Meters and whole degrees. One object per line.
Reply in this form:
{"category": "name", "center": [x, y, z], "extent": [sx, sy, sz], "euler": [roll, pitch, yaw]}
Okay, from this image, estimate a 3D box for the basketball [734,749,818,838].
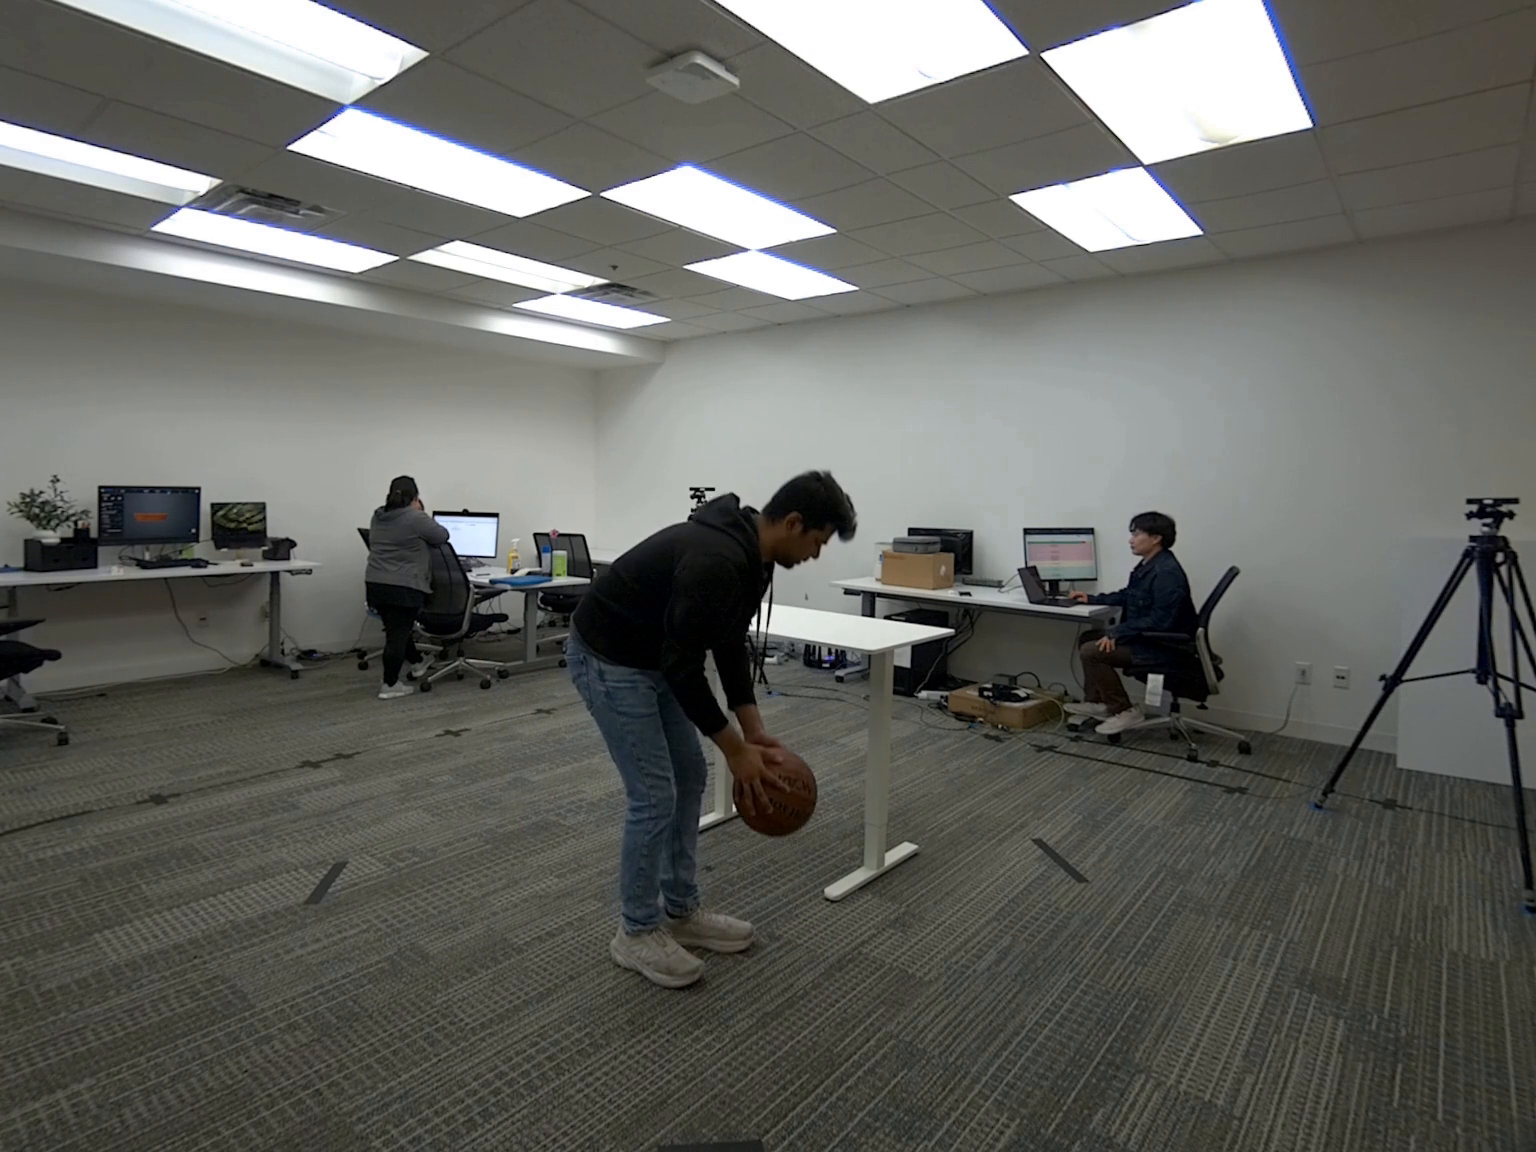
{"category": "basketball", "center": [0.012, 0.609, 2.380], "extent": [0.235, 0.235, 0.237], "euler": [1, 4, -2]}
